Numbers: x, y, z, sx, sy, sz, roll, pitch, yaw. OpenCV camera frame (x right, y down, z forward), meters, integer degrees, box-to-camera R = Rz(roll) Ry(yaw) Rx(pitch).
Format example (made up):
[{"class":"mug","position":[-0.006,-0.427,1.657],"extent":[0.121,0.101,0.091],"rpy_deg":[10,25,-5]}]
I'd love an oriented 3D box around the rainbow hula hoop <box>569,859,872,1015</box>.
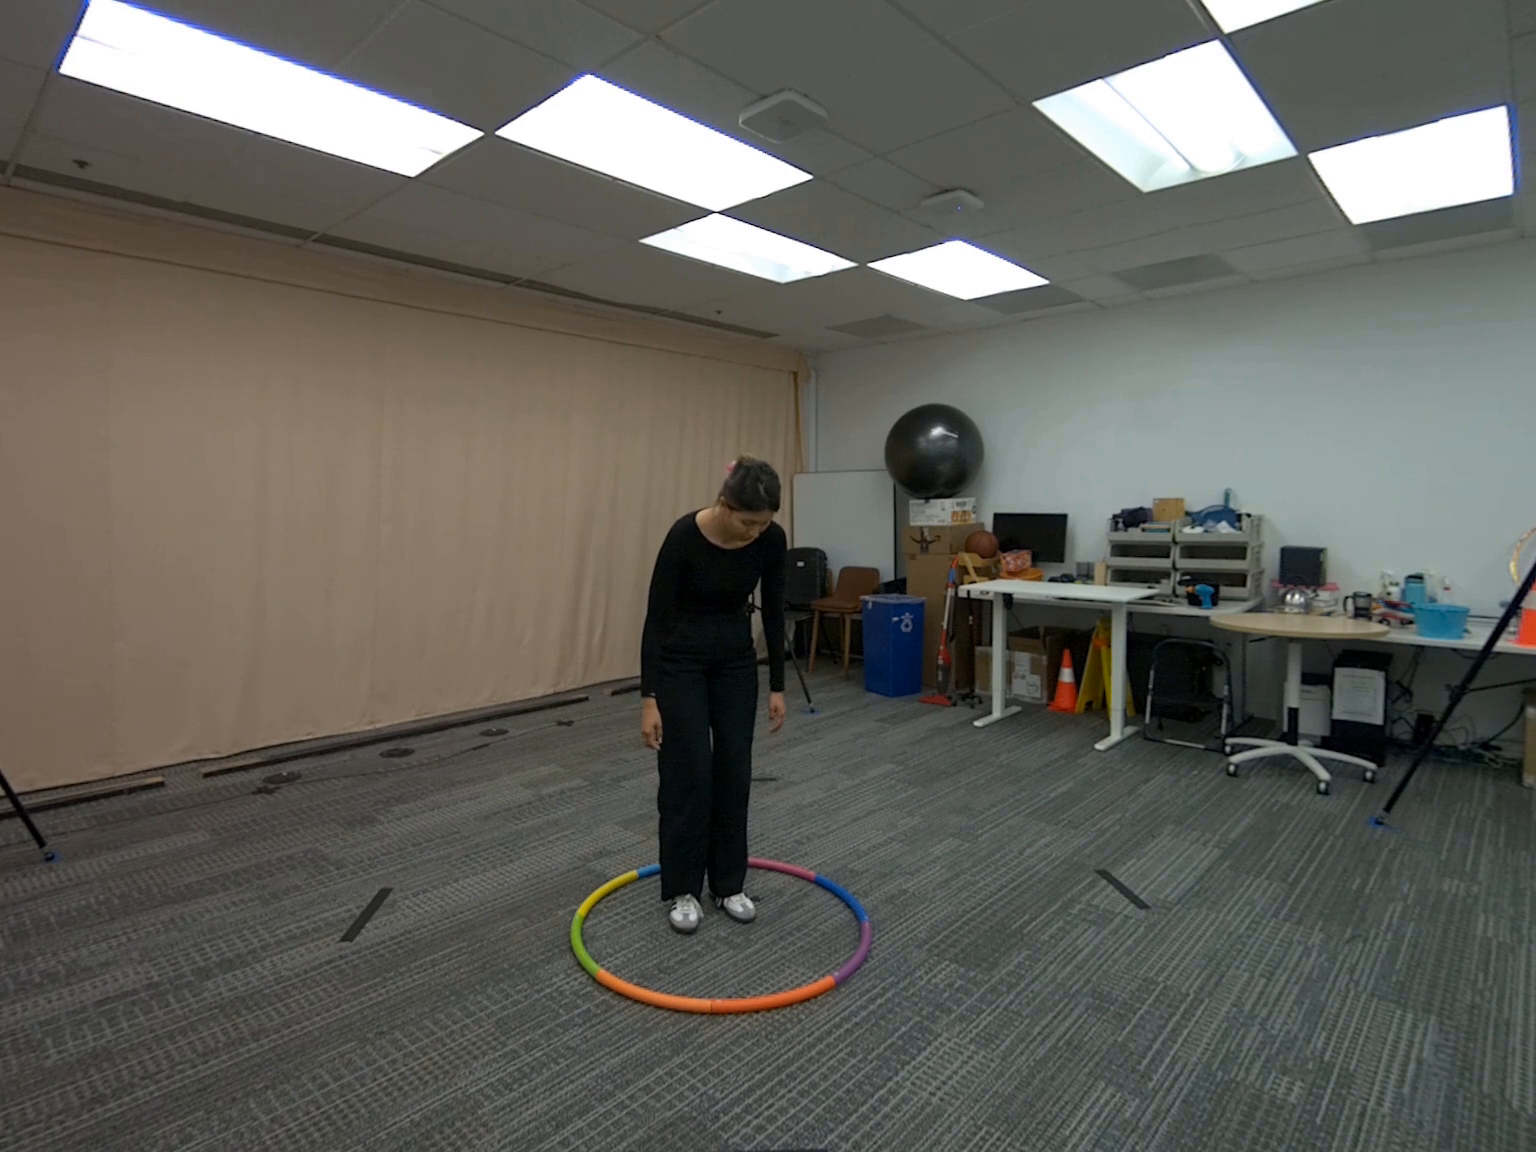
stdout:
[{"class":"rainbow hula hoop","position":[-0.156,1.133,2.792],"extent":[0.978,0.035,0.982],"rpy_deg":[0,4,-2]}]
